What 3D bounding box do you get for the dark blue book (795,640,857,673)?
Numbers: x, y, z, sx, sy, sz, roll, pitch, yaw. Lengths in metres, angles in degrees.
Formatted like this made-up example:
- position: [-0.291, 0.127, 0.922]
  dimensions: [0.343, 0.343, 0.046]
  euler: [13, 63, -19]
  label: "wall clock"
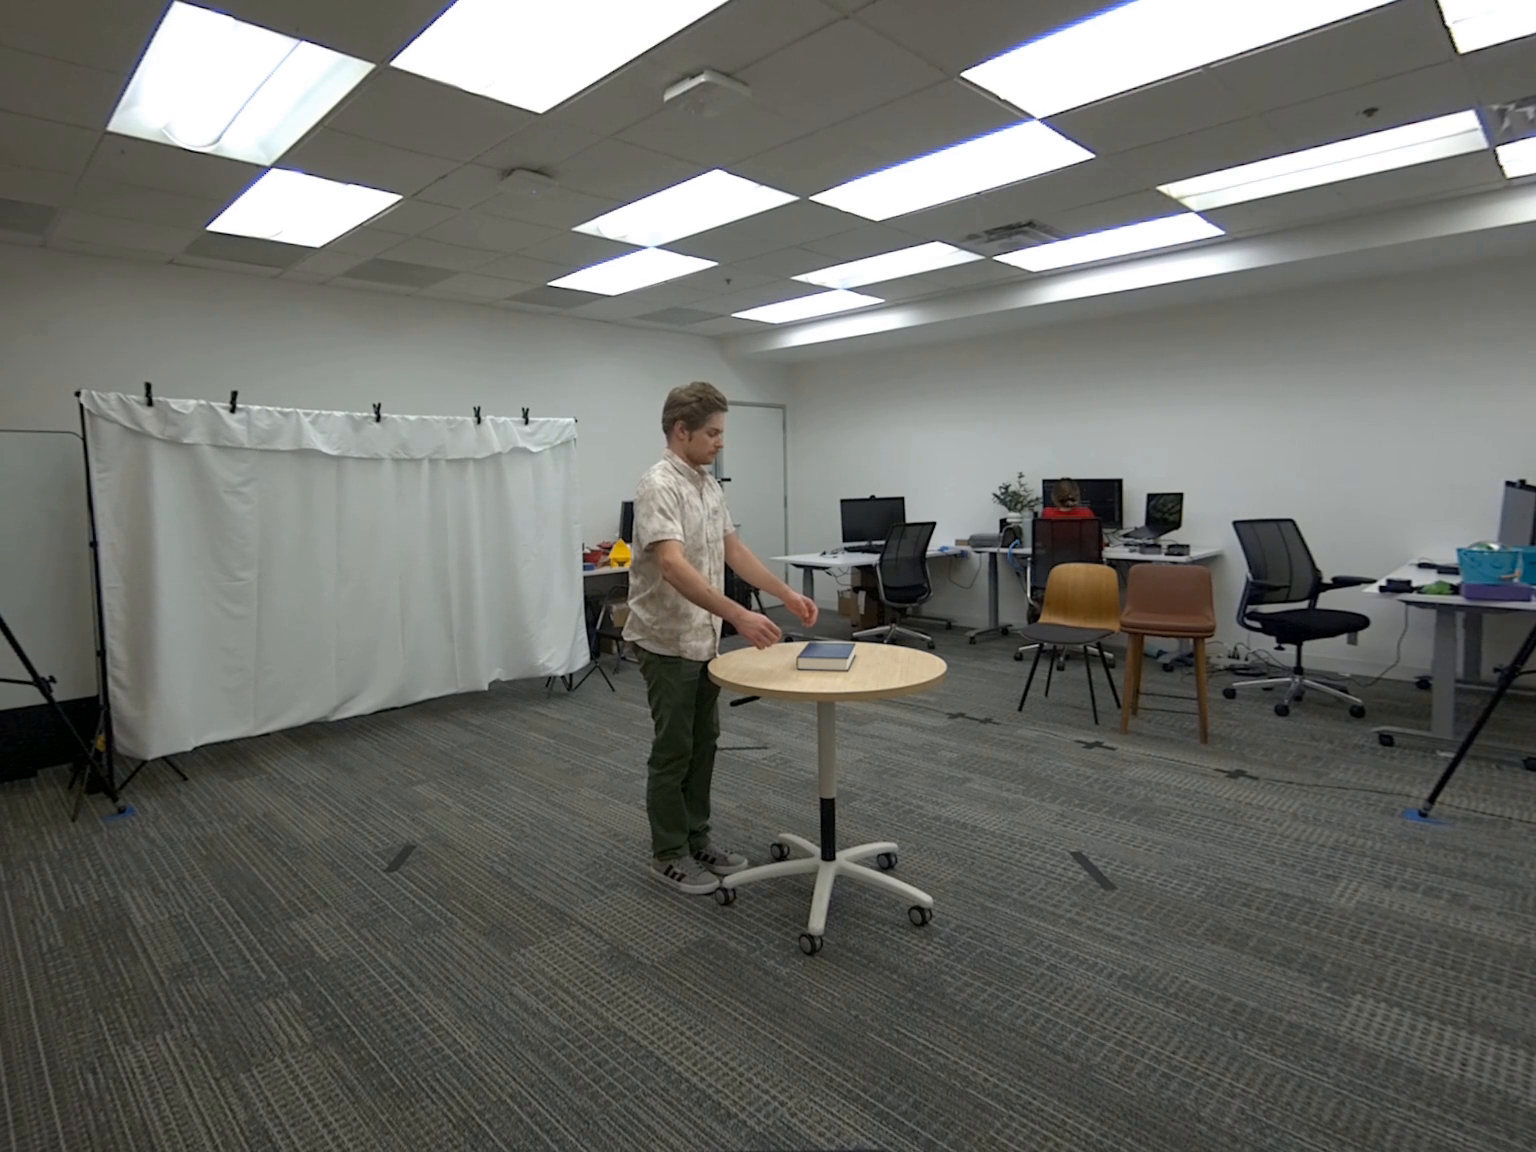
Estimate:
- position: [0.198, 0.260, 2.780]
  dimensions: [0.165, 0.045, 0.243]
  euler: [0, 6, 12]
  label: "dark blue book"
